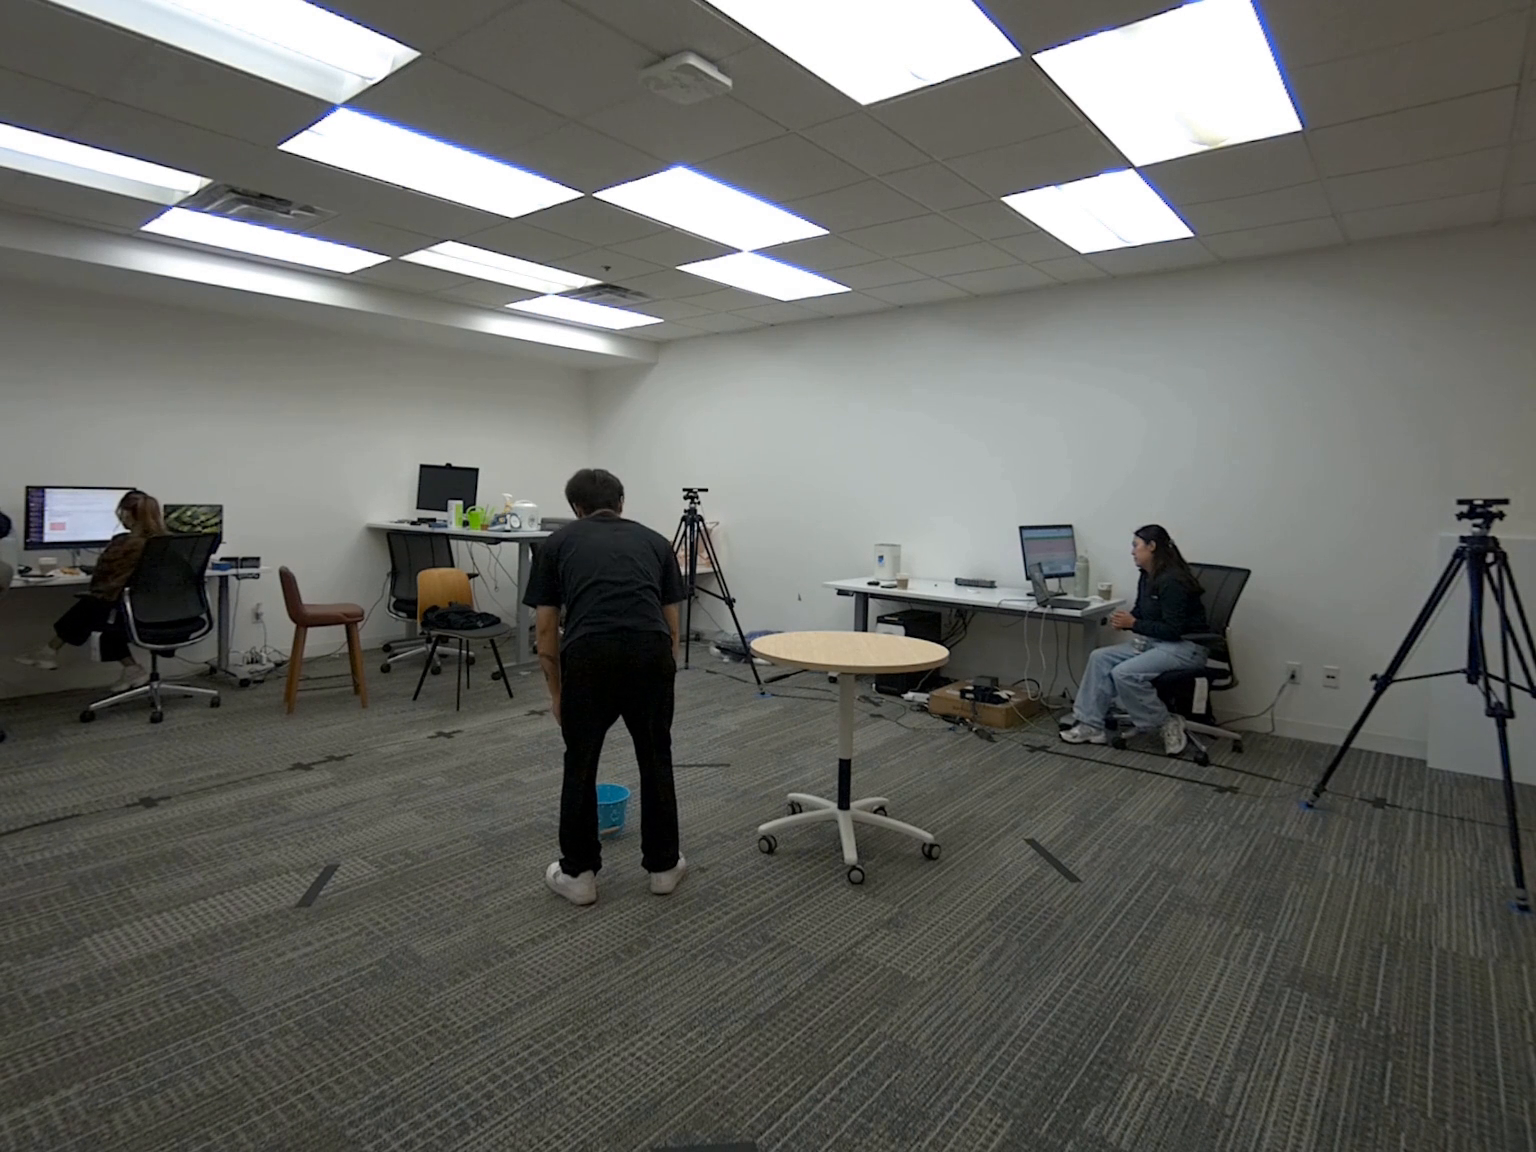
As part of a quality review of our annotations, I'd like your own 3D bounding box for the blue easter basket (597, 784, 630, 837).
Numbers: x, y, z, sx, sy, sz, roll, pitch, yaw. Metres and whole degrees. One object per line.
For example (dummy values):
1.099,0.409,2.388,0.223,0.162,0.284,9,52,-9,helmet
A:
-0.689,0.955,3.456,0.243,0.155,0.245,0,4,-2,blue easter basket
